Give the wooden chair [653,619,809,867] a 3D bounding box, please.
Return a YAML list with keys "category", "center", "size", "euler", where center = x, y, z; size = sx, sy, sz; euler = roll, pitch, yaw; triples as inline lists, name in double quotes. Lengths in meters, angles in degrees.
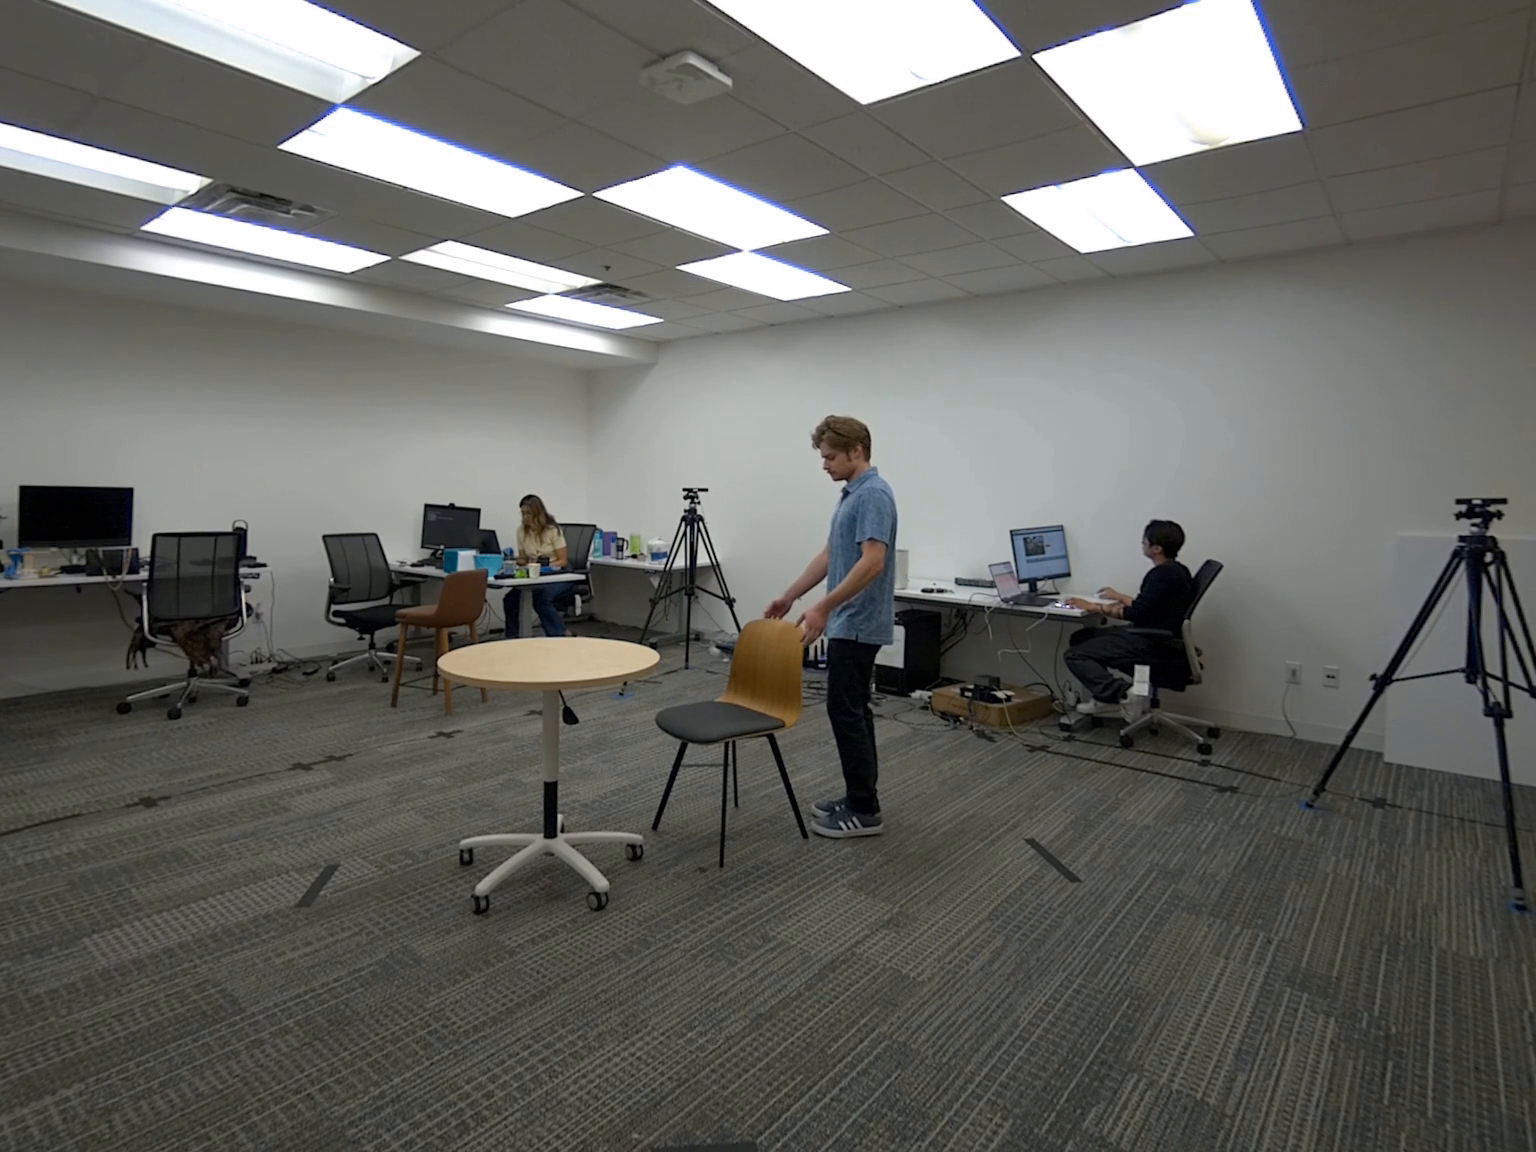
- category: "wooden chair"
  center: [-0.160, 0.614, 3.403]
  size: [0.506, 0.877, 0.494]
  euler: [4, 1, -42]
